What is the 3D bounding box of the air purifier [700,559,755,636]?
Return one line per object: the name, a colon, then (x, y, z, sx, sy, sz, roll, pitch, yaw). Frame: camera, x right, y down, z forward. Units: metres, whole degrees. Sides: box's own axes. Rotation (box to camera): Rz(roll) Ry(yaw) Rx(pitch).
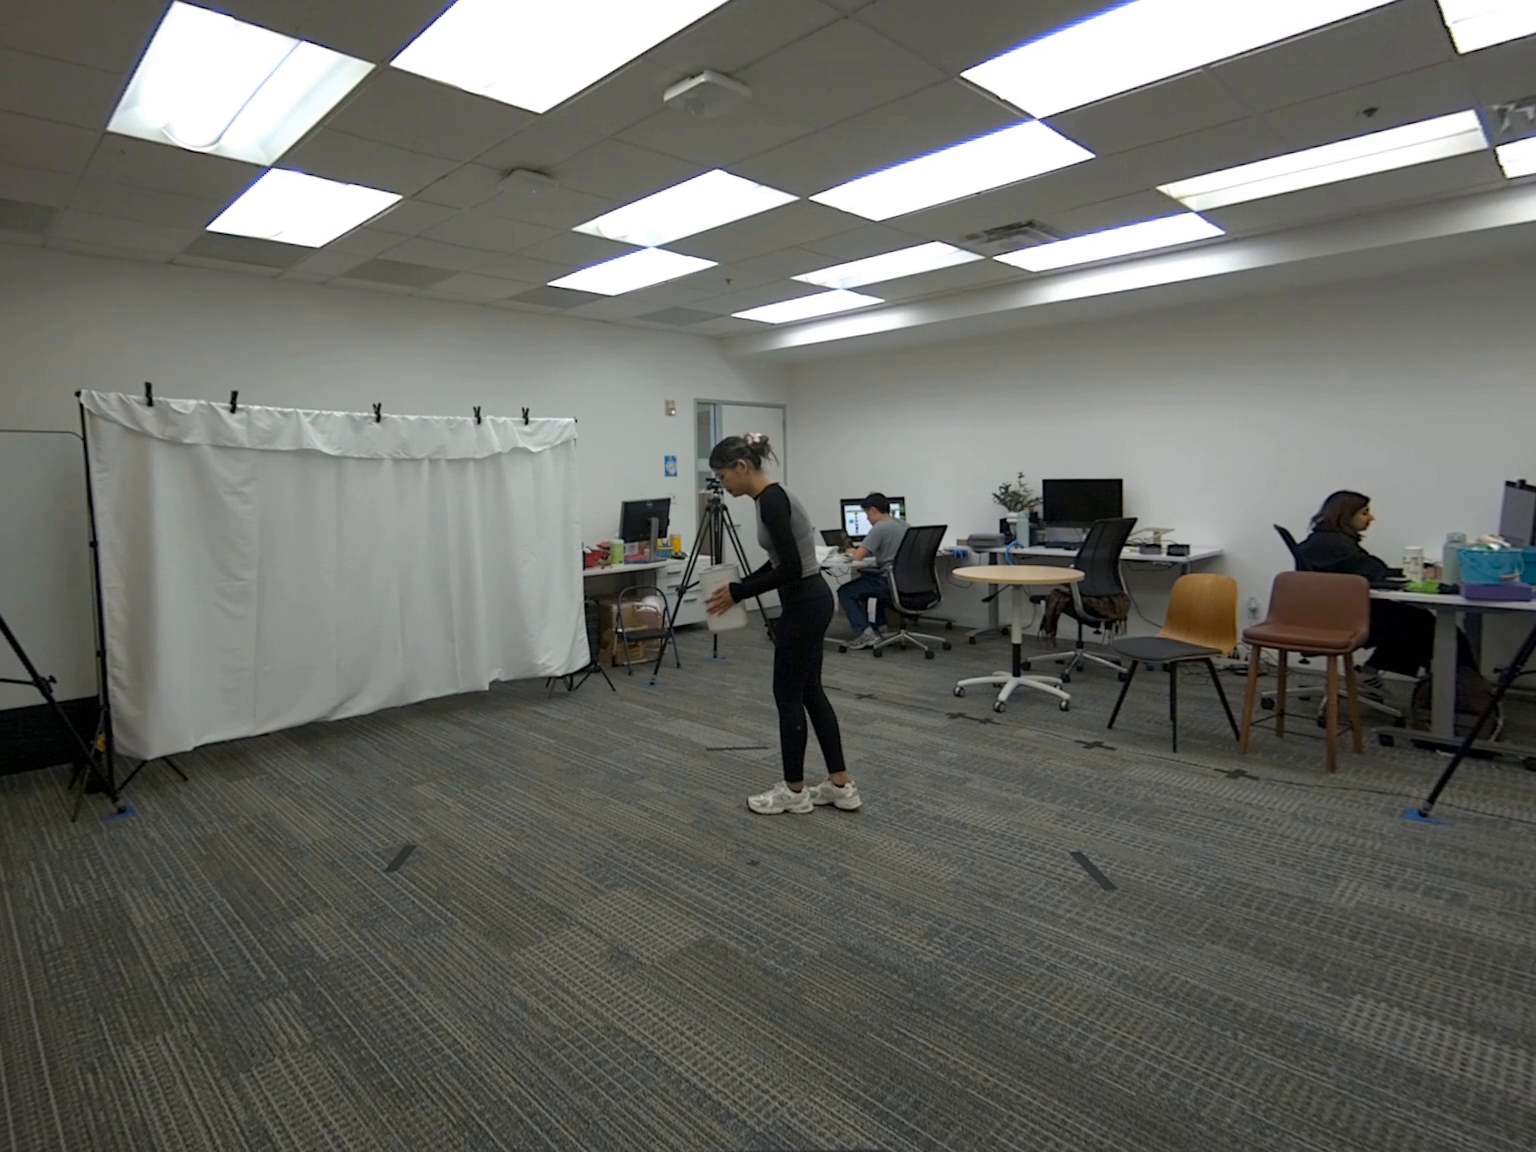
air purifier: (-0.173, 0.085, 3.580, 0.171, 0.264, 0.172, -11, 5, 0)
